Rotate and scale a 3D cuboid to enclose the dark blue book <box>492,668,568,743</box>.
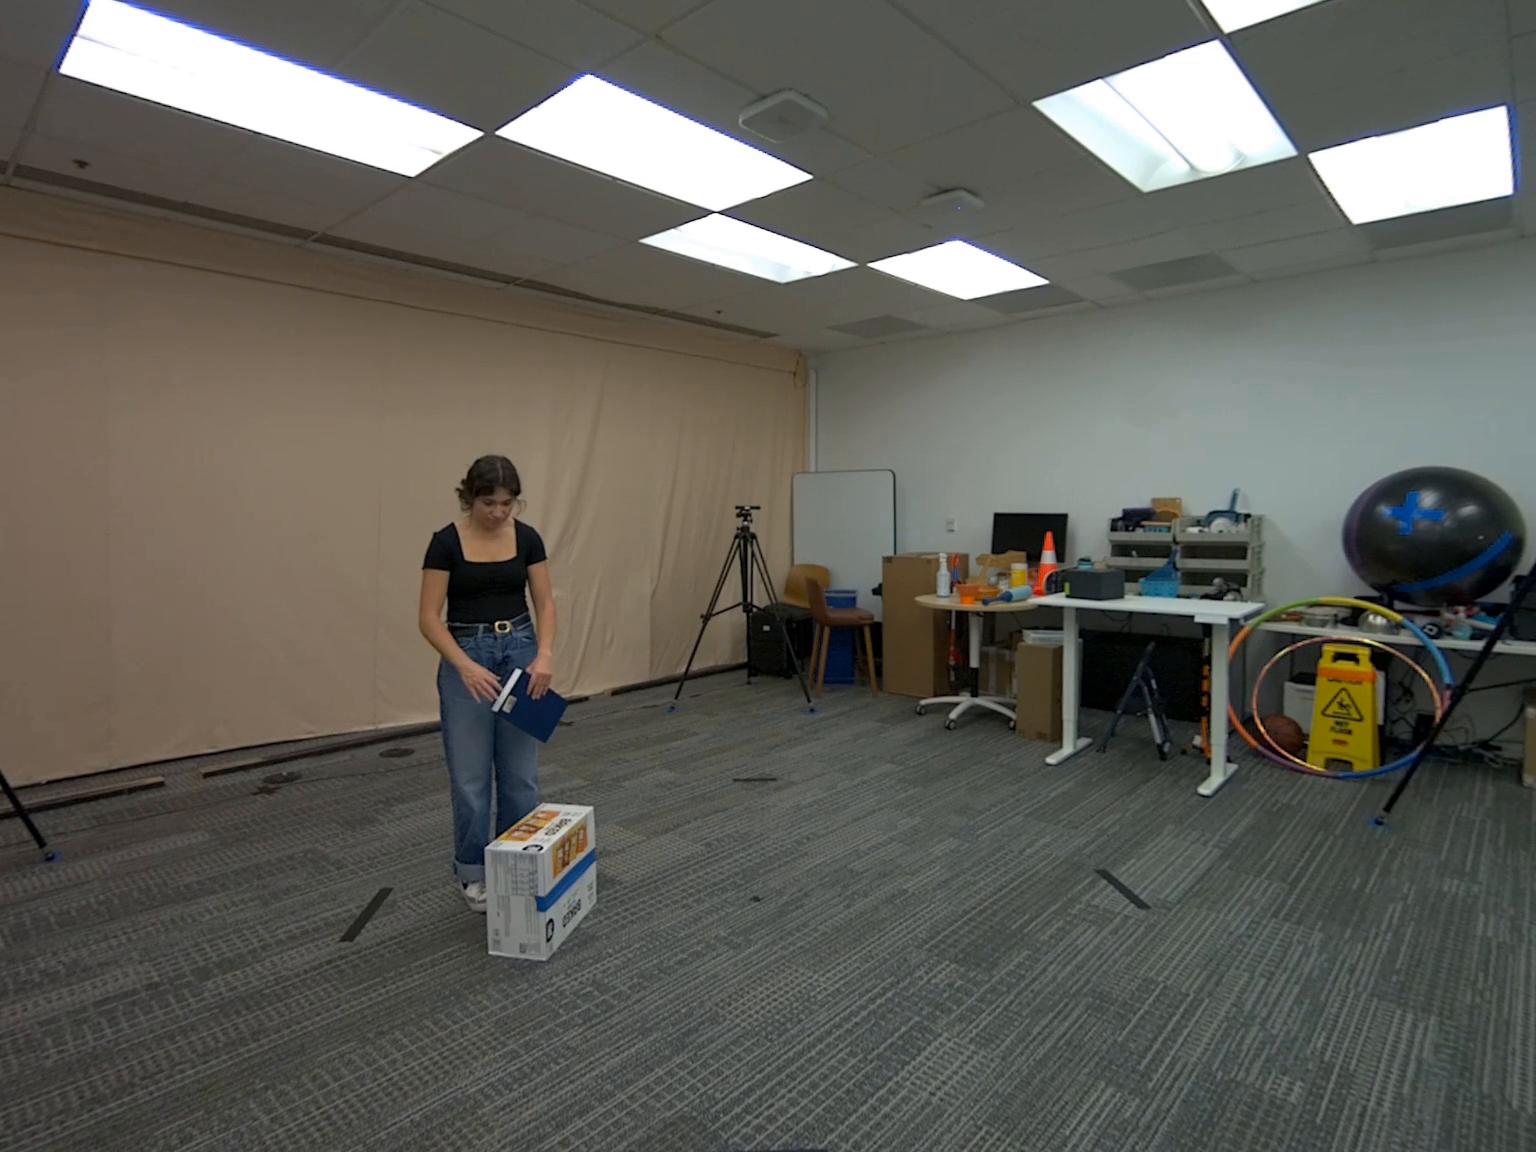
[{"bbox_3d":[-0.803,0.439,2.838,0.047,0.163,0.236,8,-28,41],"label":"dark blue book"}]
